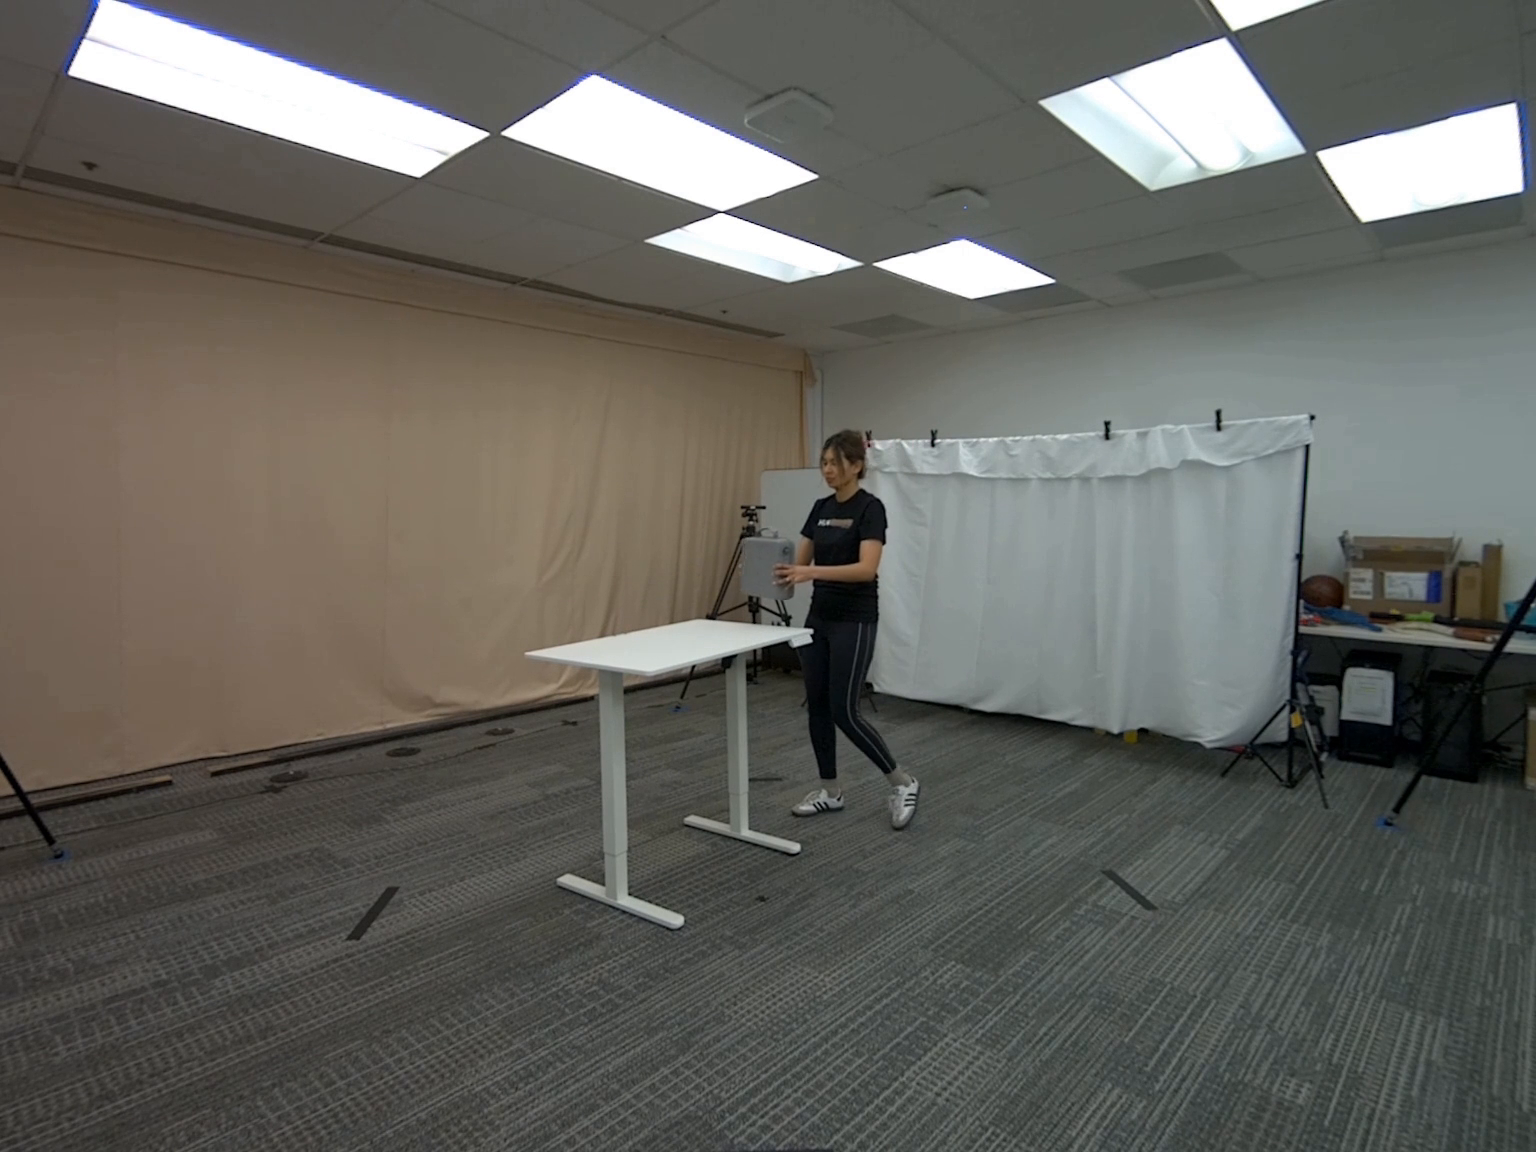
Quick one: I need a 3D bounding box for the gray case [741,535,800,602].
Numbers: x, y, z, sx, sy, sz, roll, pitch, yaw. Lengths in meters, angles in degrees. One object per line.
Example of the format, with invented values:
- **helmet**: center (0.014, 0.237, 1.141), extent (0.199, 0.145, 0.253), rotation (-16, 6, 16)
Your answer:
- **gray case**: center (0.005, -0.038, 3.541), extent (0.101, 0.260, 0.265), rotation (0, 3, -33)
